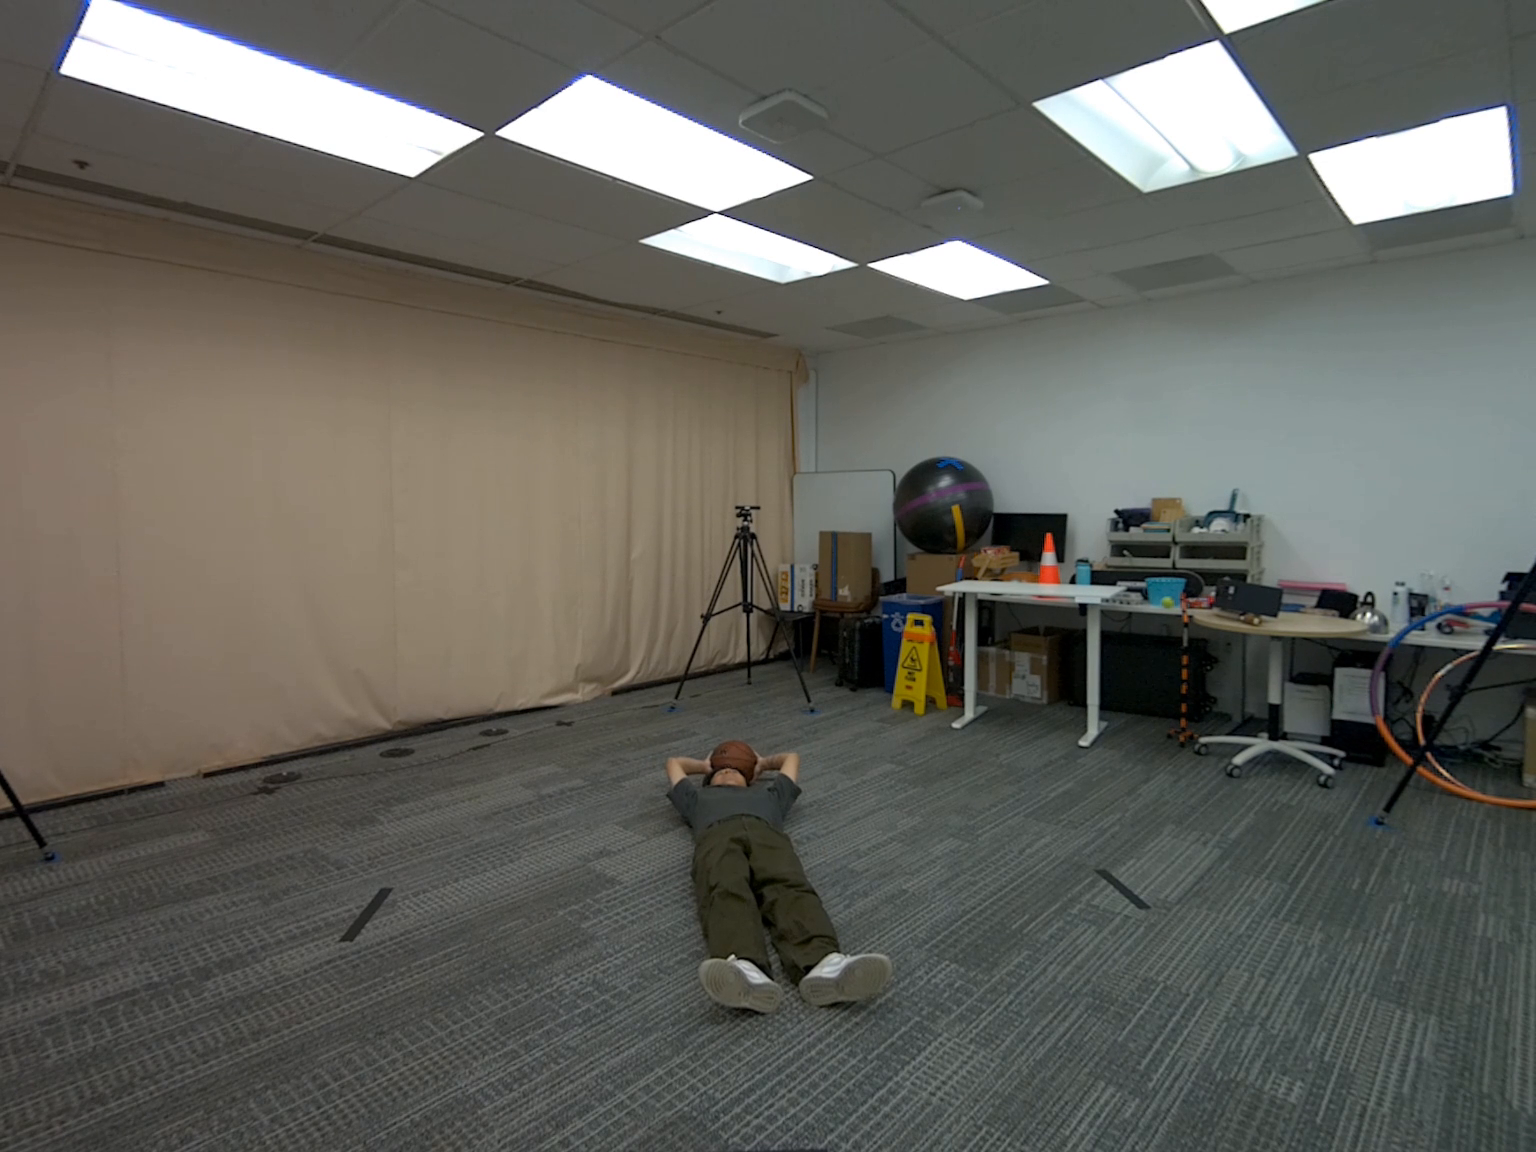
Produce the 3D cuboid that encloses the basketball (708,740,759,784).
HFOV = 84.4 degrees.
[{"bbox_3d":[-0.169,0.930,4.164,0.236,0.235,0.237,0,4,-2],"label":"basketball"}]
